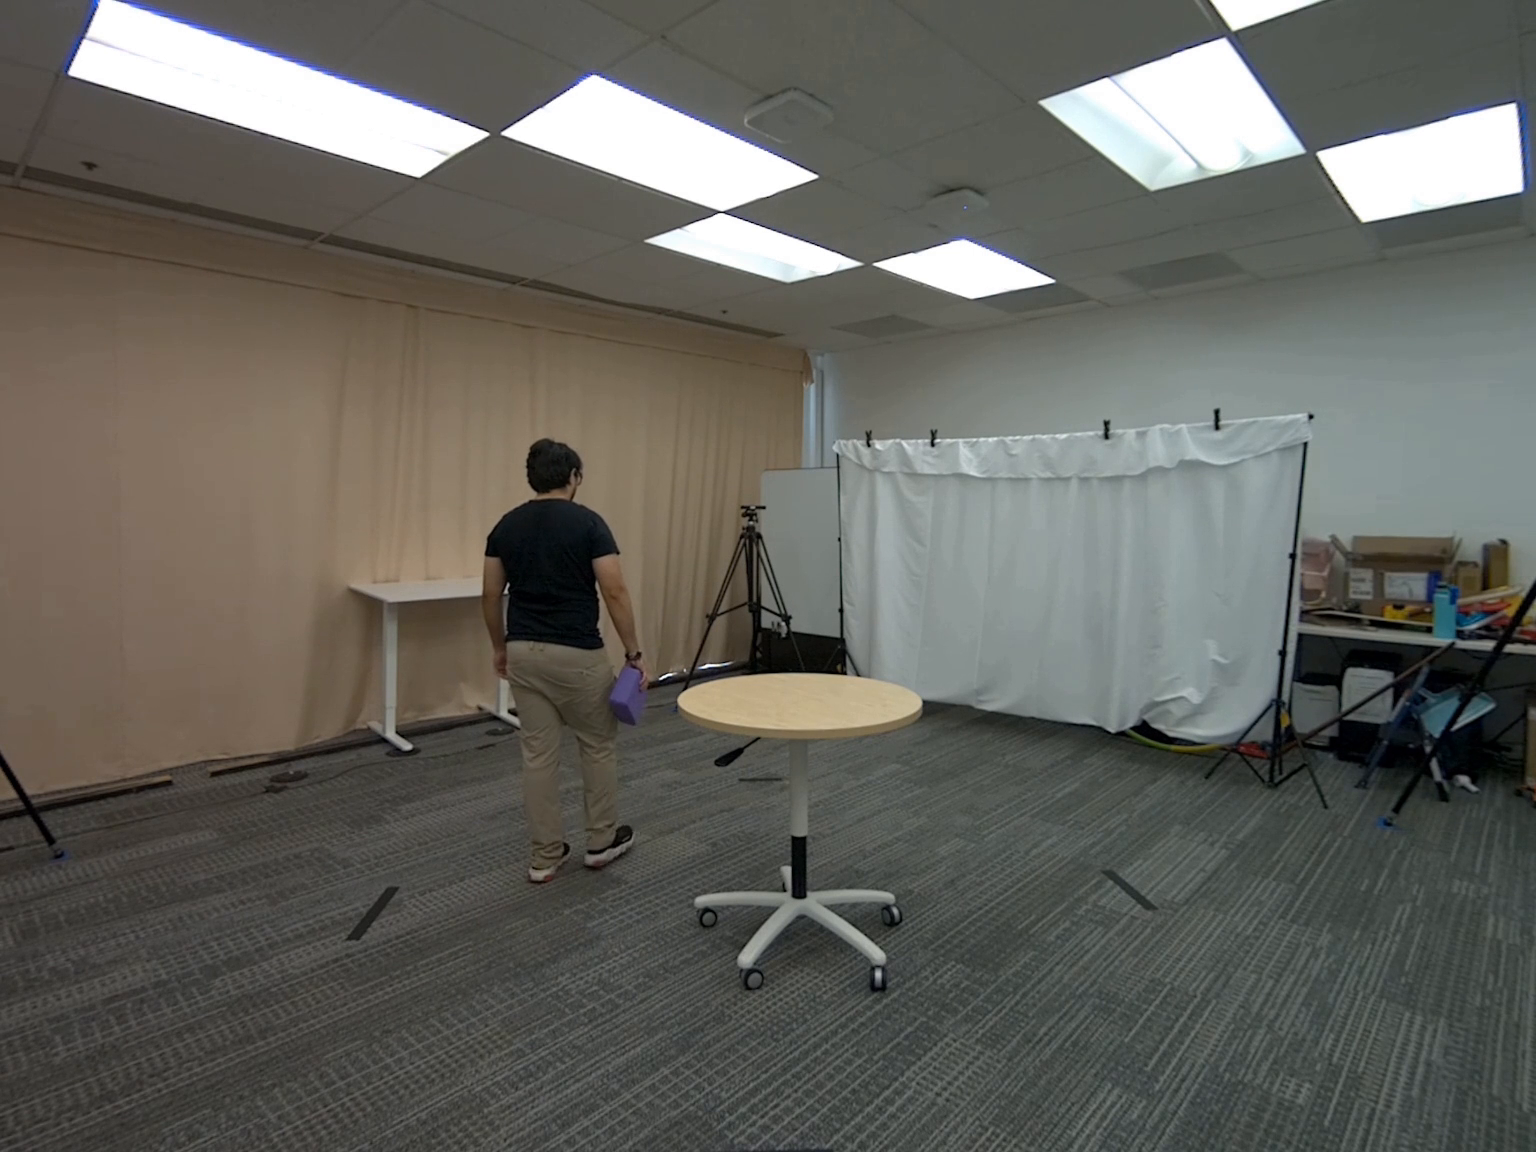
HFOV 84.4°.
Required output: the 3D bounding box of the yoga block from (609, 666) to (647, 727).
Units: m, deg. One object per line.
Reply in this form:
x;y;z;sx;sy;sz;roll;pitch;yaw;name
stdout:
-0.534;0.468;3.230;0.077;0.150;0.225;9;-29;8;yoga block
